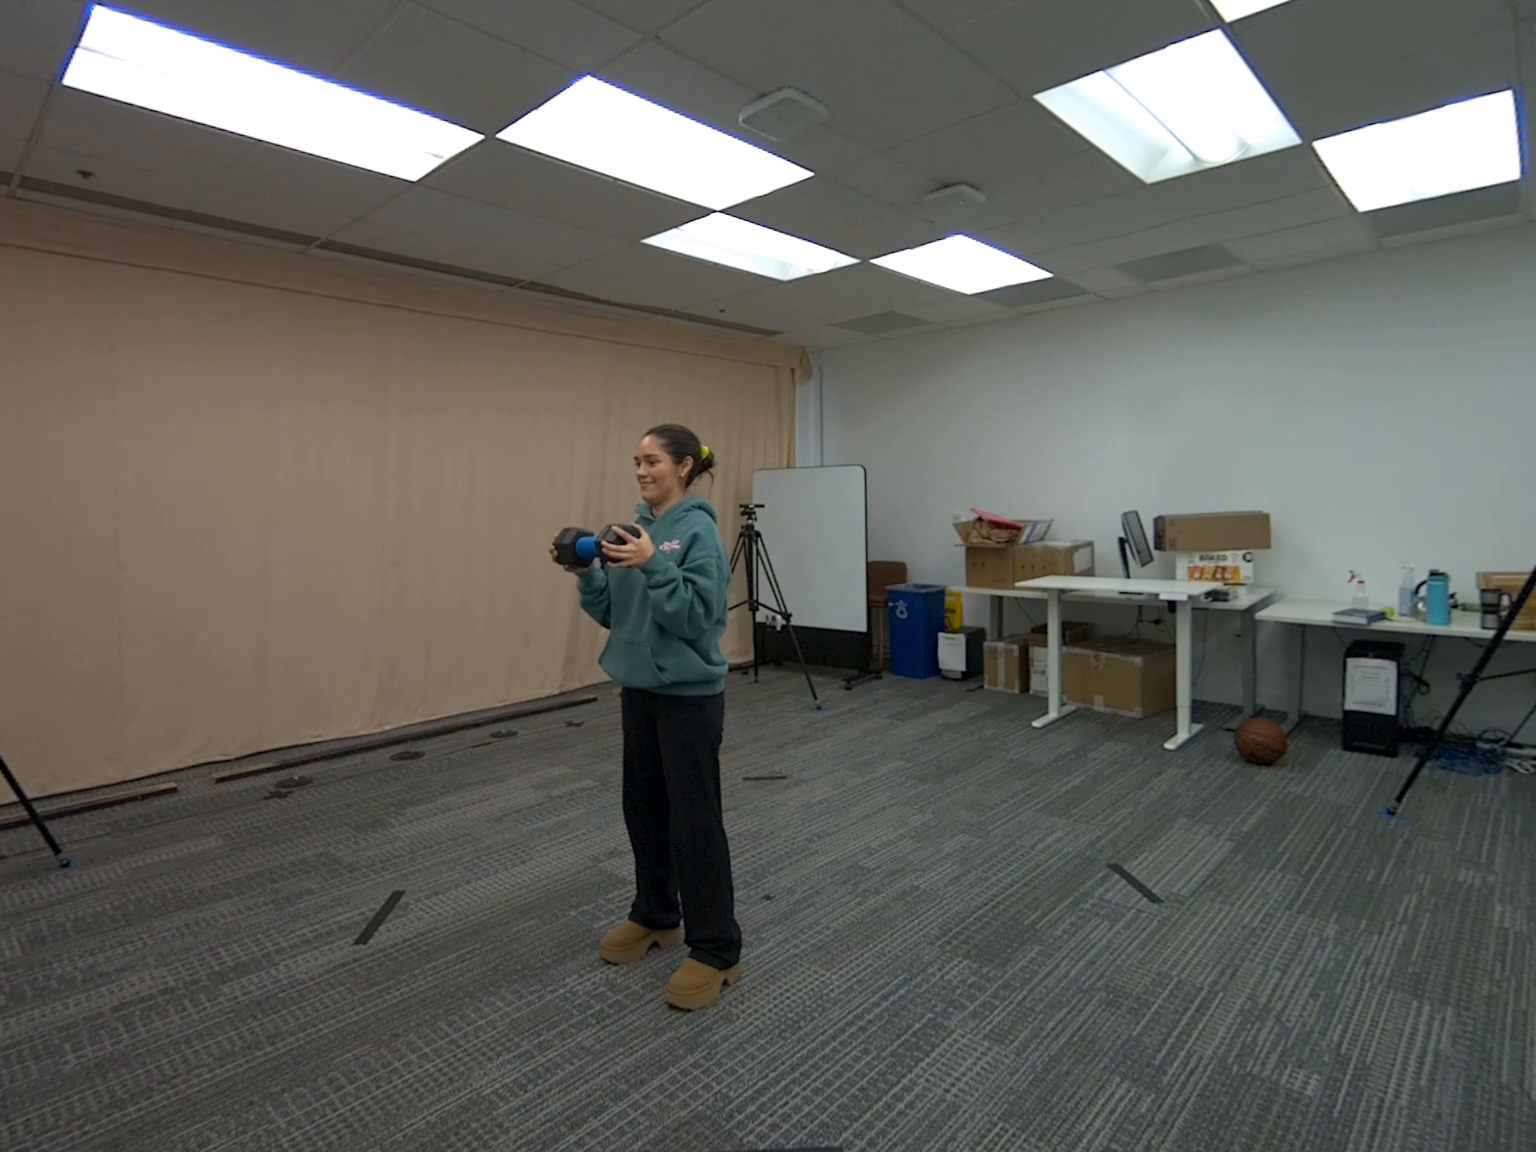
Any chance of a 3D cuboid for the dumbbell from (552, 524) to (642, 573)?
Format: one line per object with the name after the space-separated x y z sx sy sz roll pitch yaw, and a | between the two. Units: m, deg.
-0.463 -0.072 2.326 0.119 0.109 0.303 11 -8 -44 | dumbbell
